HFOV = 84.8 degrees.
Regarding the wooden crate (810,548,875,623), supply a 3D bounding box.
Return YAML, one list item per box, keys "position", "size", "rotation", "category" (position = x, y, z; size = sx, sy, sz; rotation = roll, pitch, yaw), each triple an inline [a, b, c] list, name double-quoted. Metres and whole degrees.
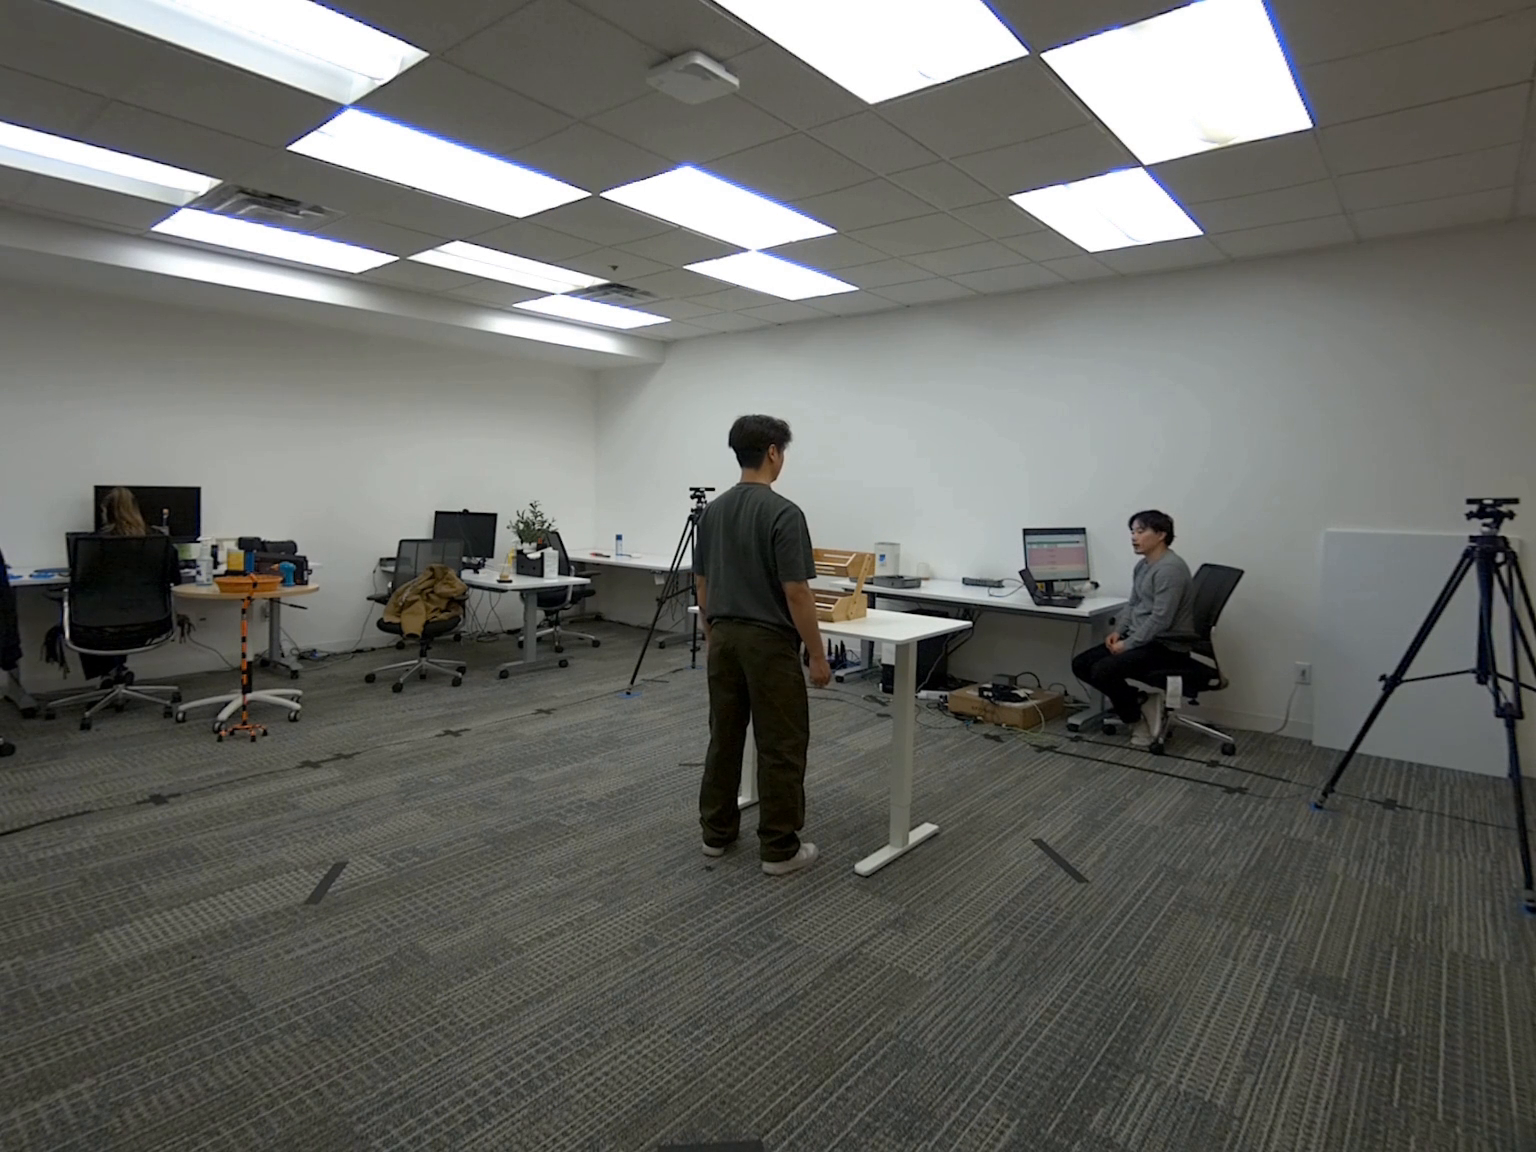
- position: [0.219, 0.023, 3.480]
  size: [0.335, 0.272, 0.293]
  rotation: [6, 5, 39]
  category: "wooden crate"
